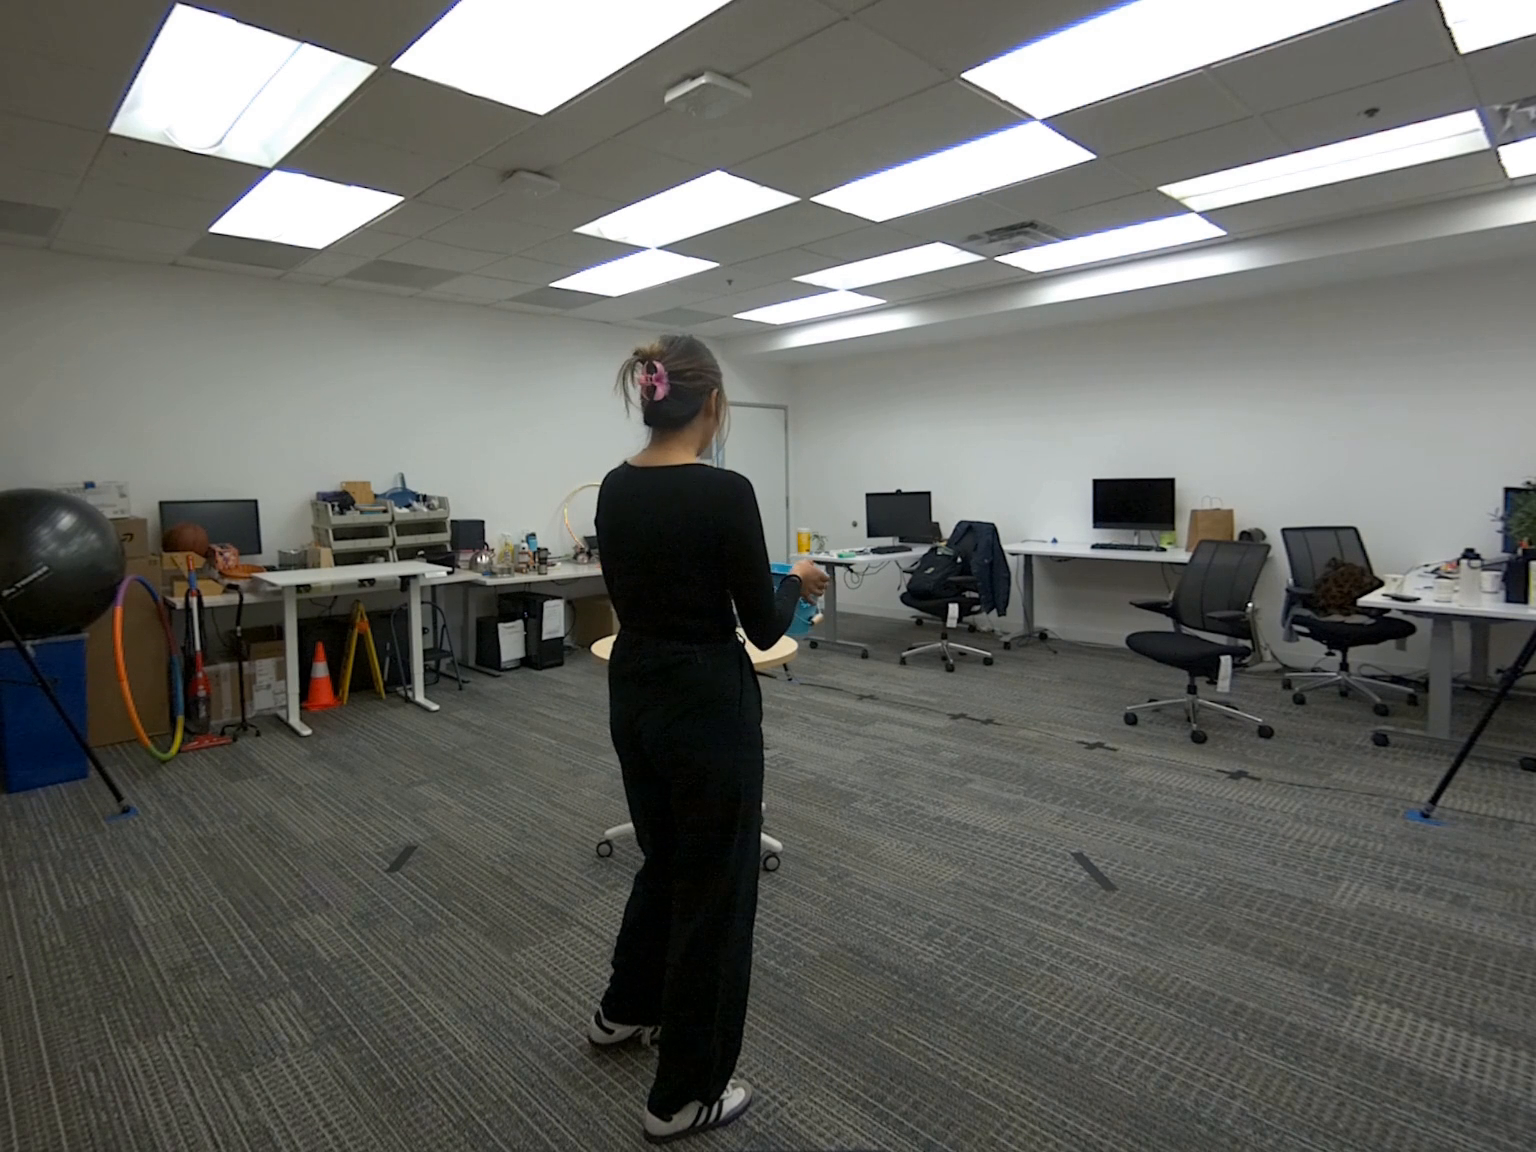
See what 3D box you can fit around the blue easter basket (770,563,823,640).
[{"bbox_3d":[0.027,0.060,2.117,0.243,0.155,0.245,4,8,-2],"label":"blue easter basket"}]
